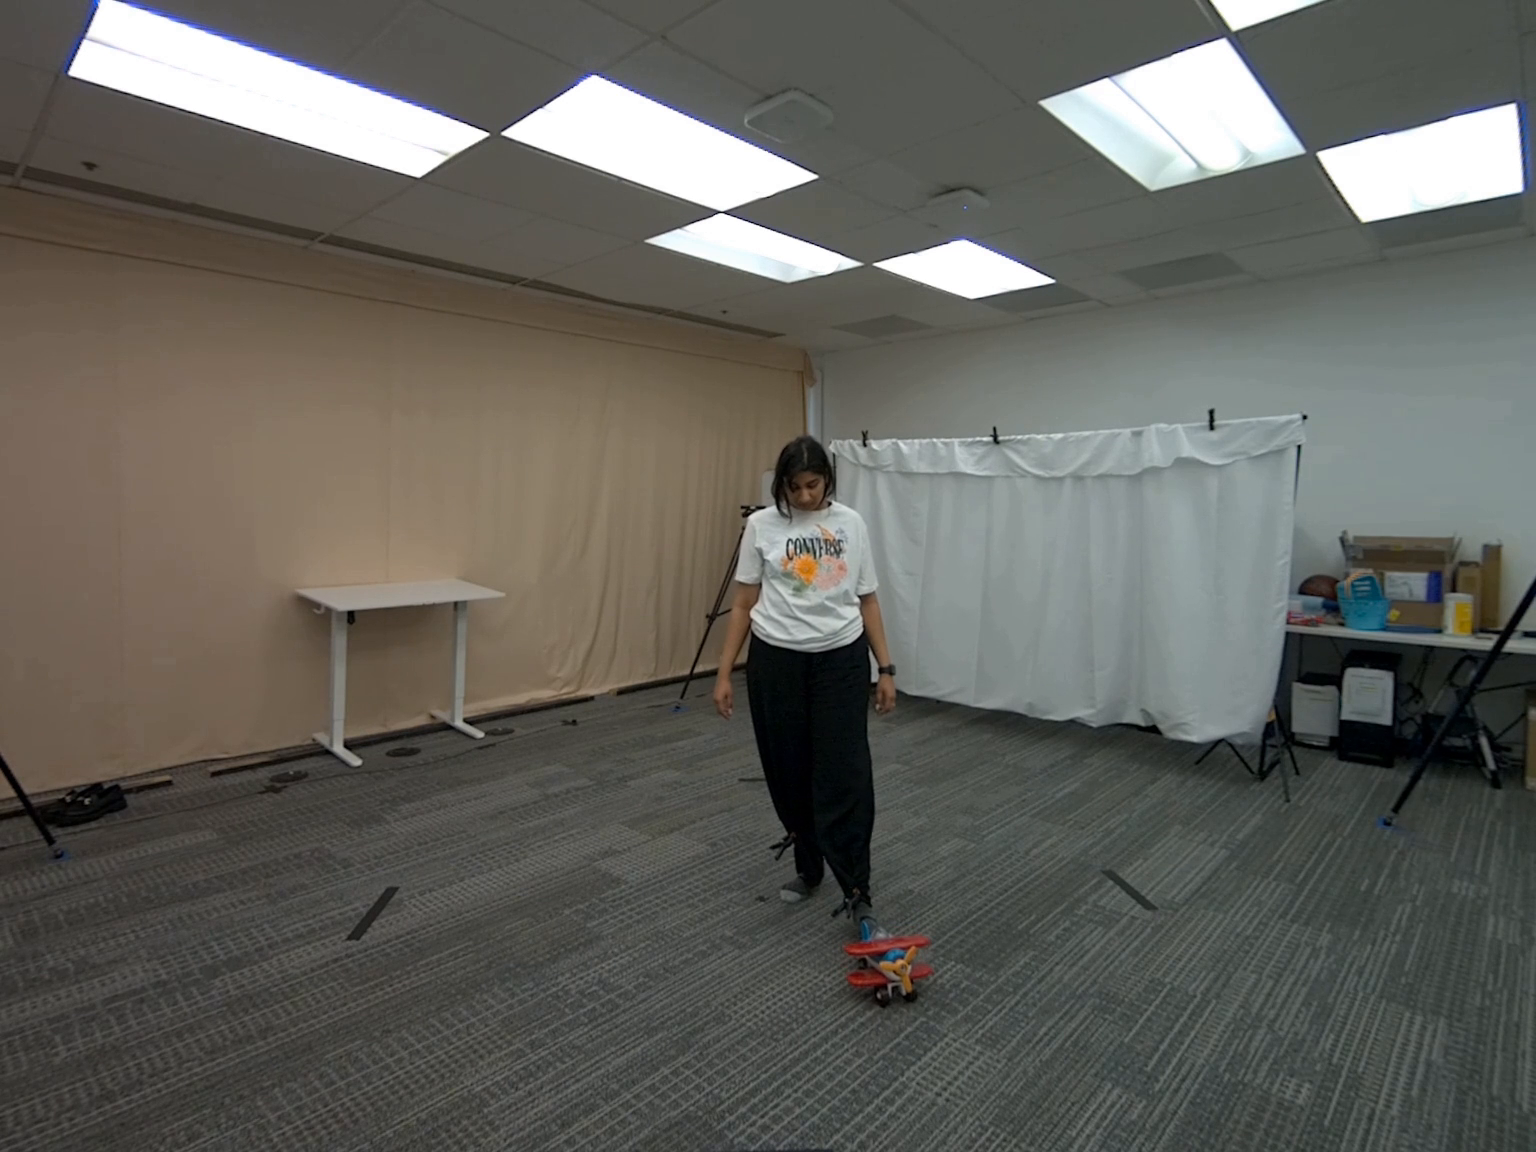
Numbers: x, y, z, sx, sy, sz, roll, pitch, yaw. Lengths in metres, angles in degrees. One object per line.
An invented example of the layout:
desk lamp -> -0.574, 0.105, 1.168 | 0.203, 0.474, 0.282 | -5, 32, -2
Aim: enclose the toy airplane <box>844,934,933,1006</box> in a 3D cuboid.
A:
toy airplane -> 0.317, 1.111, 2.437 | 0.243, 0.156, 0.268 | -5, 7, -44
